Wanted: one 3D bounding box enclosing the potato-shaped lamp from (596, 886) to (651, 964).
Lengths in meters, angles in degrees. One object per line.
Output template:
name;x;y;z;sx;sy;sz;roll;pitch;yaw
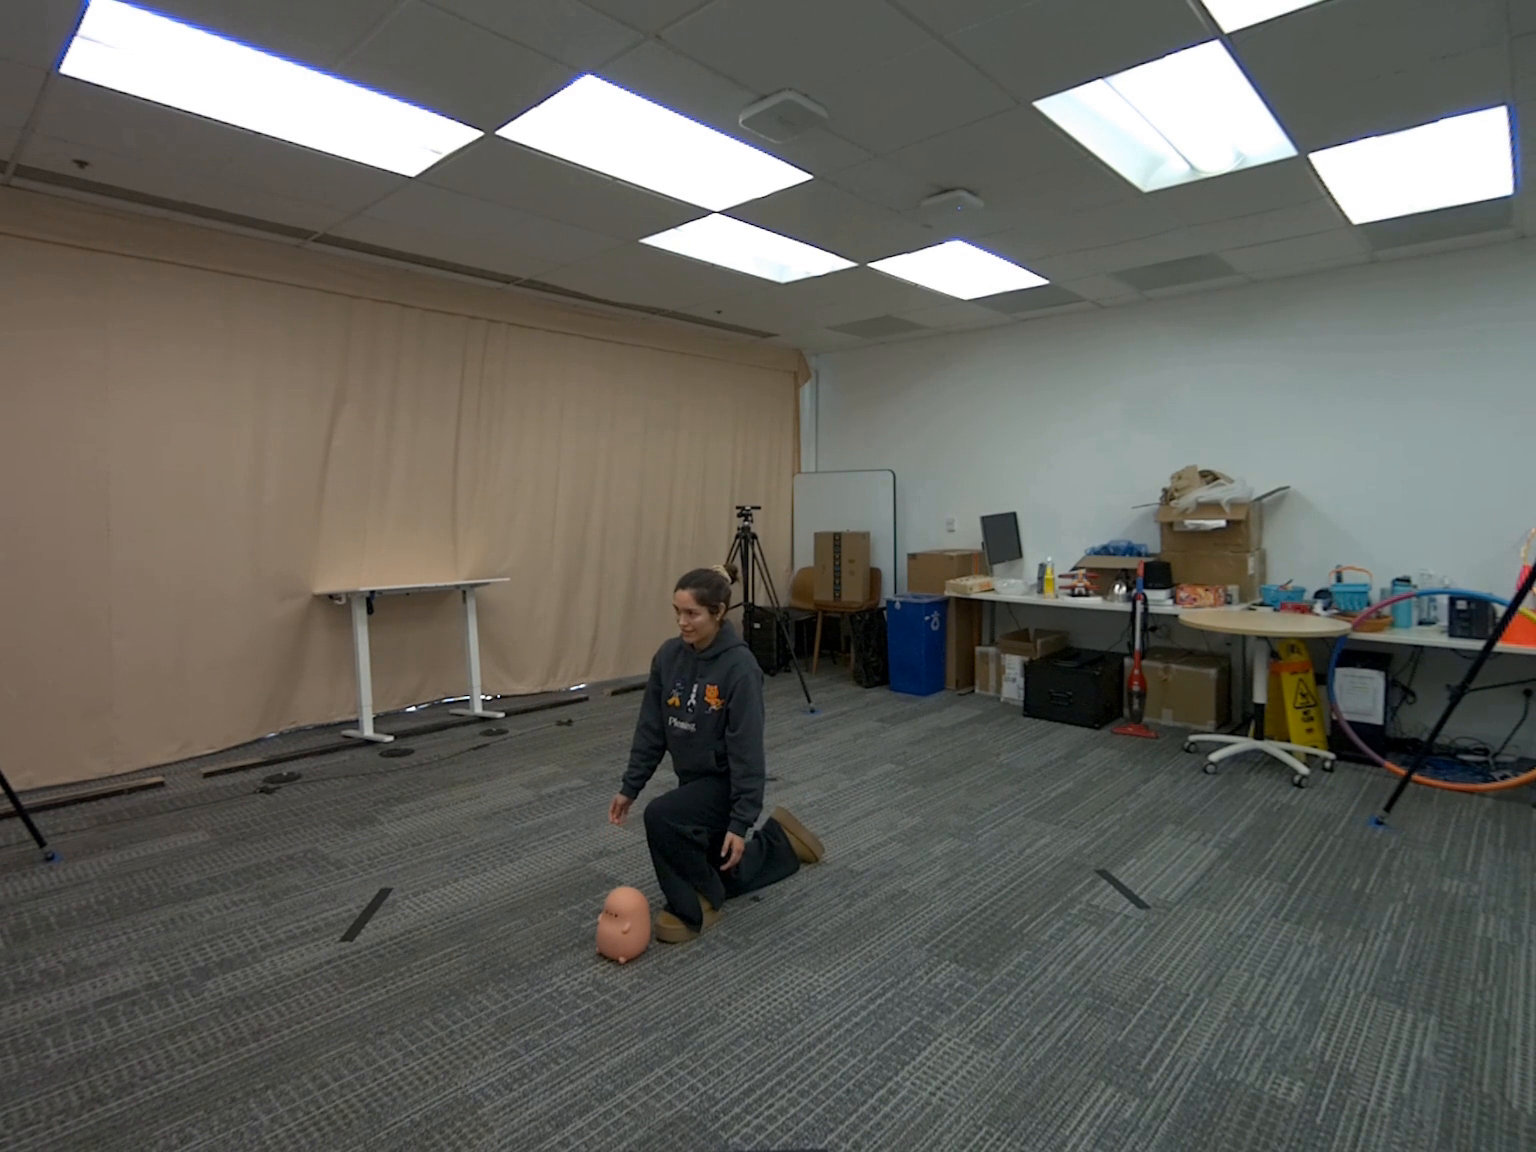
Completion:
potato-shaped lamp;-0.430;1.078;2.634;0.170;0.198;0.166;1;2;37
